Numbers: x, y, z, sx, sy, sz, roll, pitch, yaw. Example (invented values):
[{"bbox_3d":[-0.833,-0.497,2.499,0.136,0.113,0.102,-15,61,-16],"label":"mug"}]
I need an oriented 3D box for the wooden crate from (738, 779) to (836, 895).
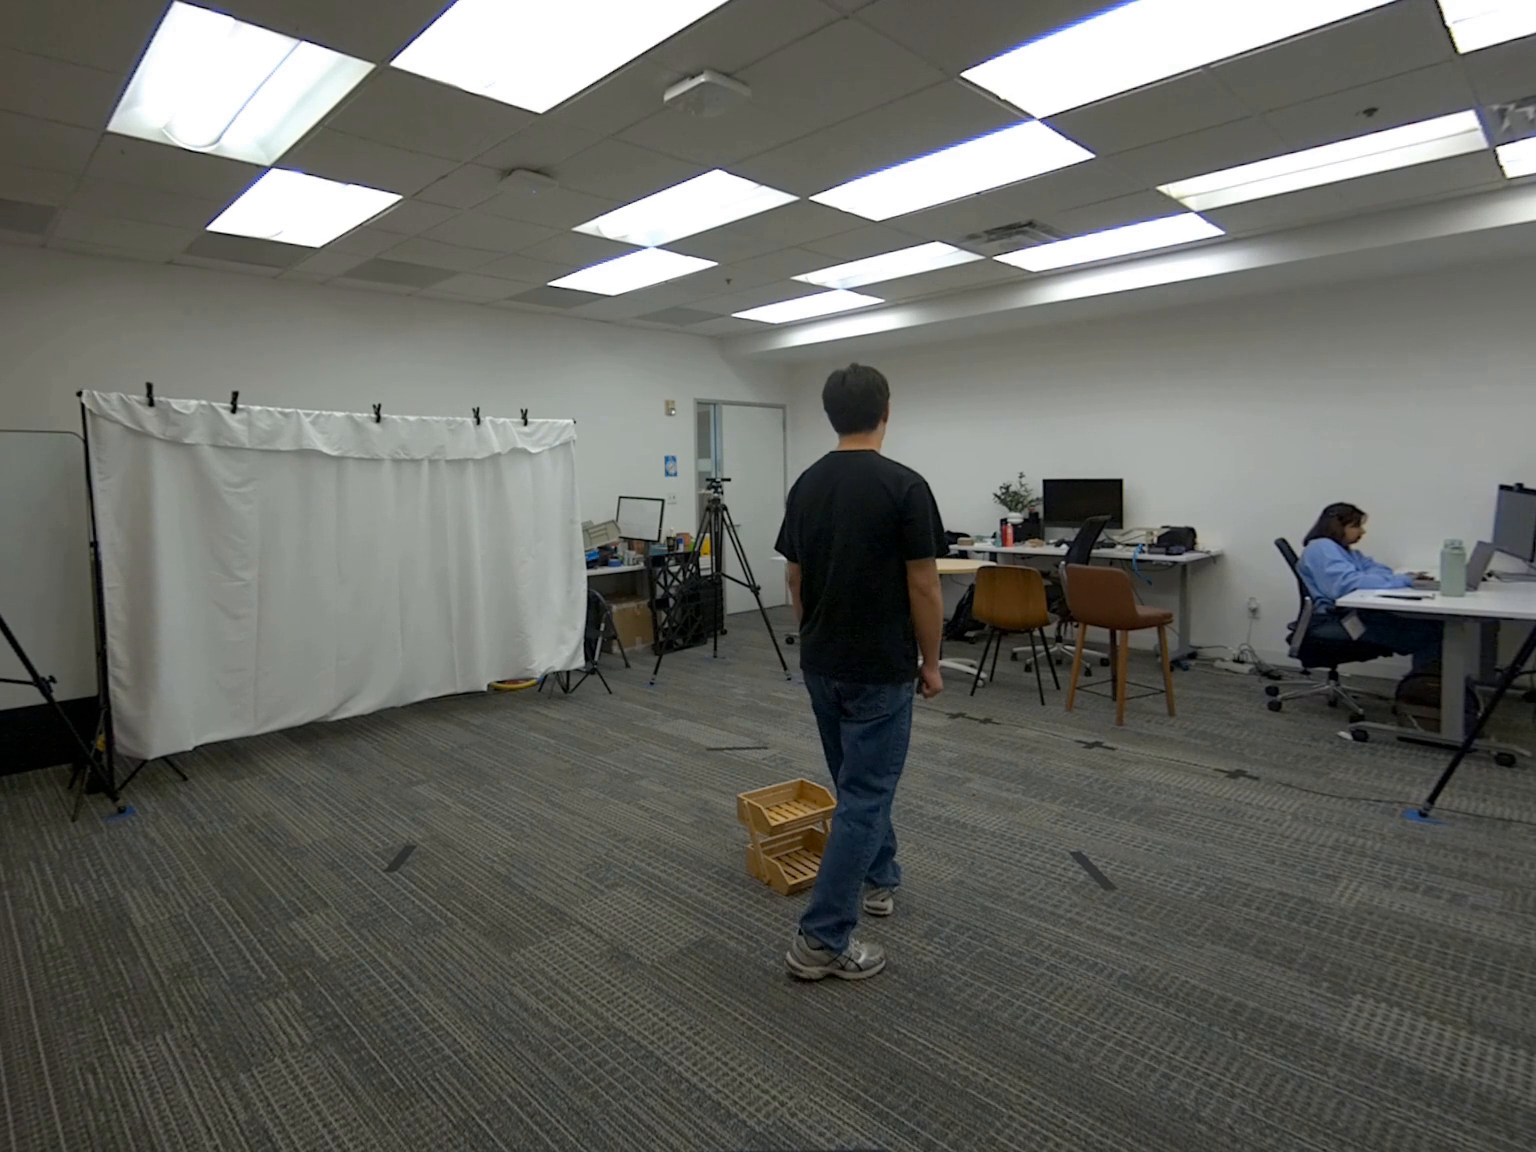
[{"bbox_3d":[0.104,0.914,3.037,0.316,0.272,0.311,-5,6,-35],"label":"wooden crate"}]
